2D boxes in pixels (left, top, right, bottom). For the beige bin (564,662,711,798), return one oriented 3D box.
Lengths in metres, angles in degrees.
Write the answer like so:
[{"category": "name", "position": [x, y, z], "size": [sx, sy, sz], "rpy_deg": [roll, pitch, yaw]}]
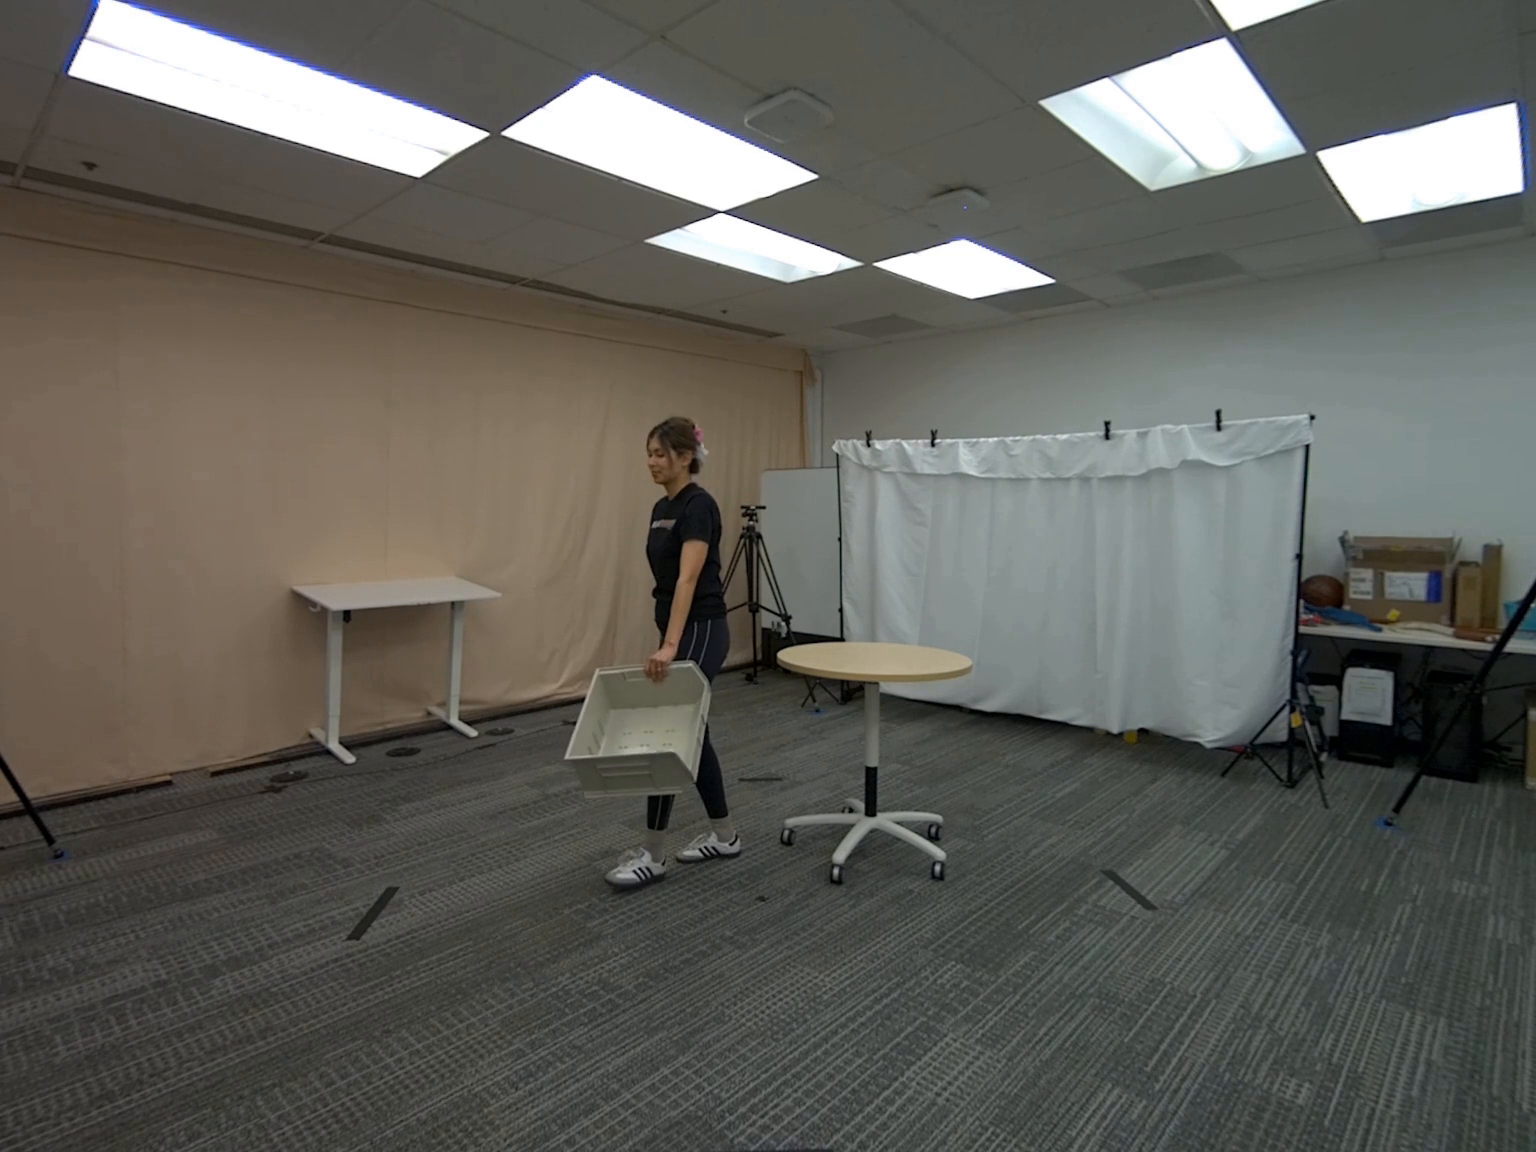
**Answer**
[{"category": "beige bin", "position": [-0.385, 0.486, 2.714], "size": [0.382, 0.184, 0.427], "rpy_deg": [-8, 32, 10]}]
